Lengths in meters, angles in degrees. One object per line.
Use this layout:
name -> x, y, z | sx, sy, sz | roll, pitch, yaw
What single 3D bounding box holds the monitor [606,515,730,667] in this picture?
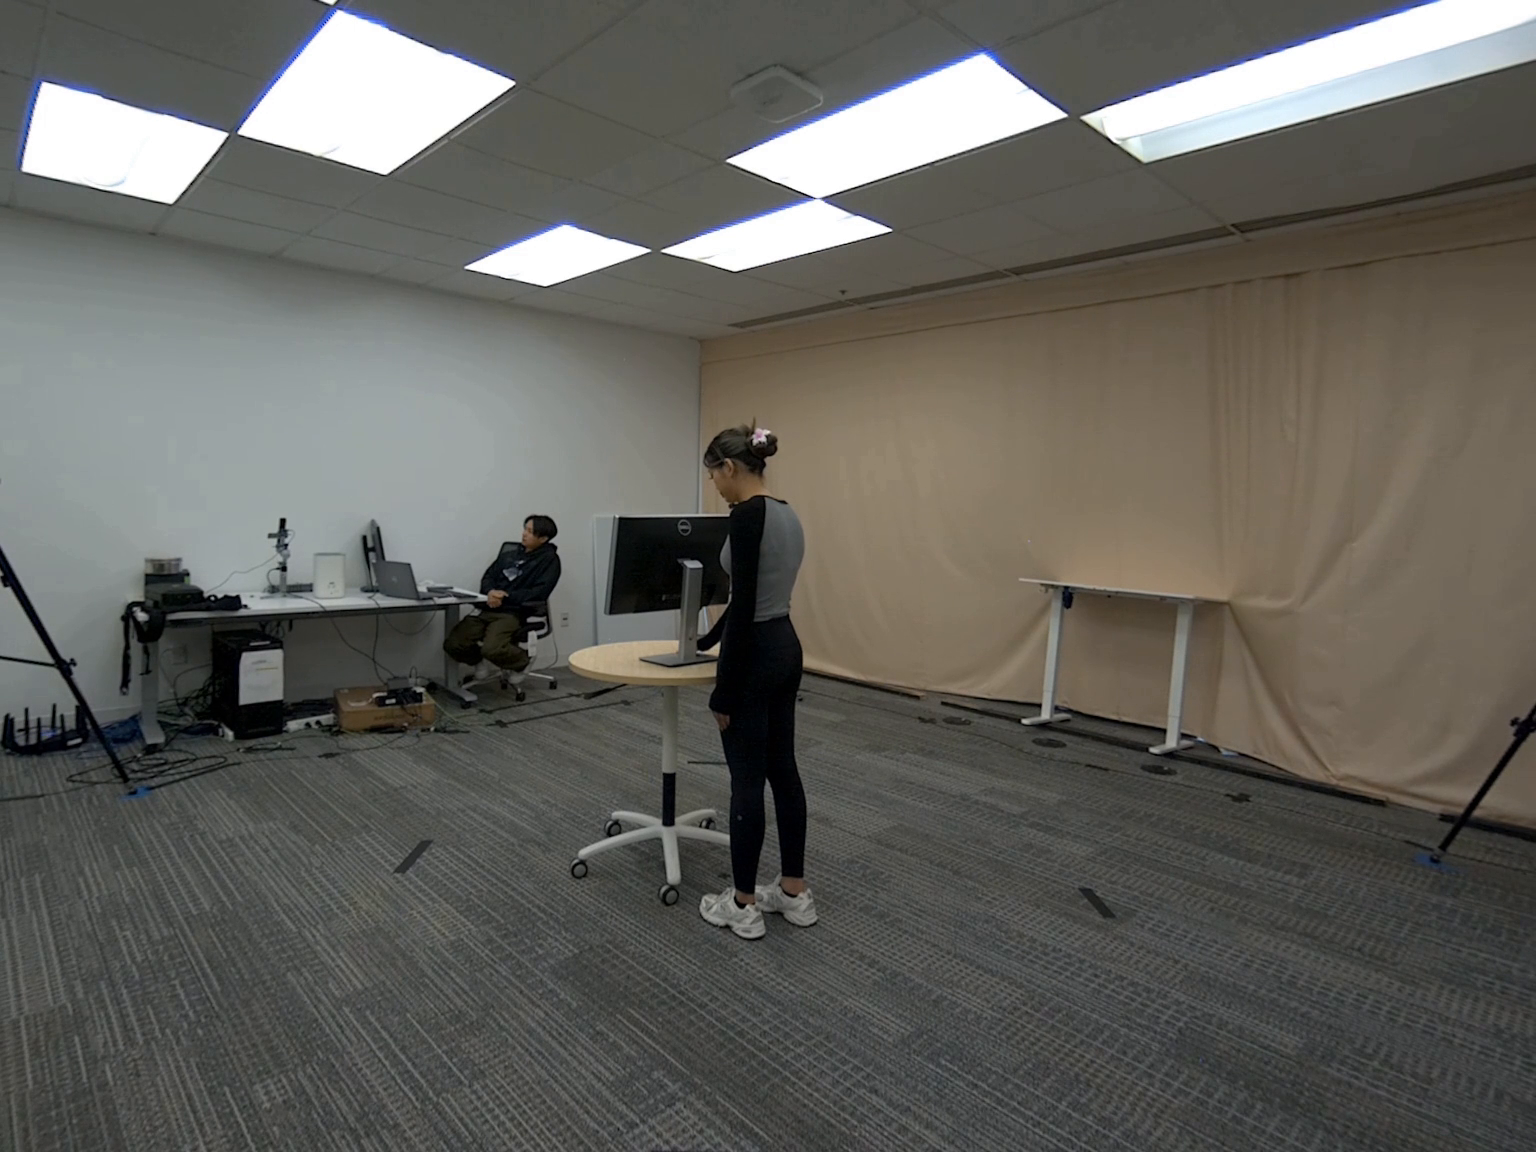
monitor -> -0.327, 0.046, 3.111 | 0.527, 0.521, 0.192 | -3, 4, -43
